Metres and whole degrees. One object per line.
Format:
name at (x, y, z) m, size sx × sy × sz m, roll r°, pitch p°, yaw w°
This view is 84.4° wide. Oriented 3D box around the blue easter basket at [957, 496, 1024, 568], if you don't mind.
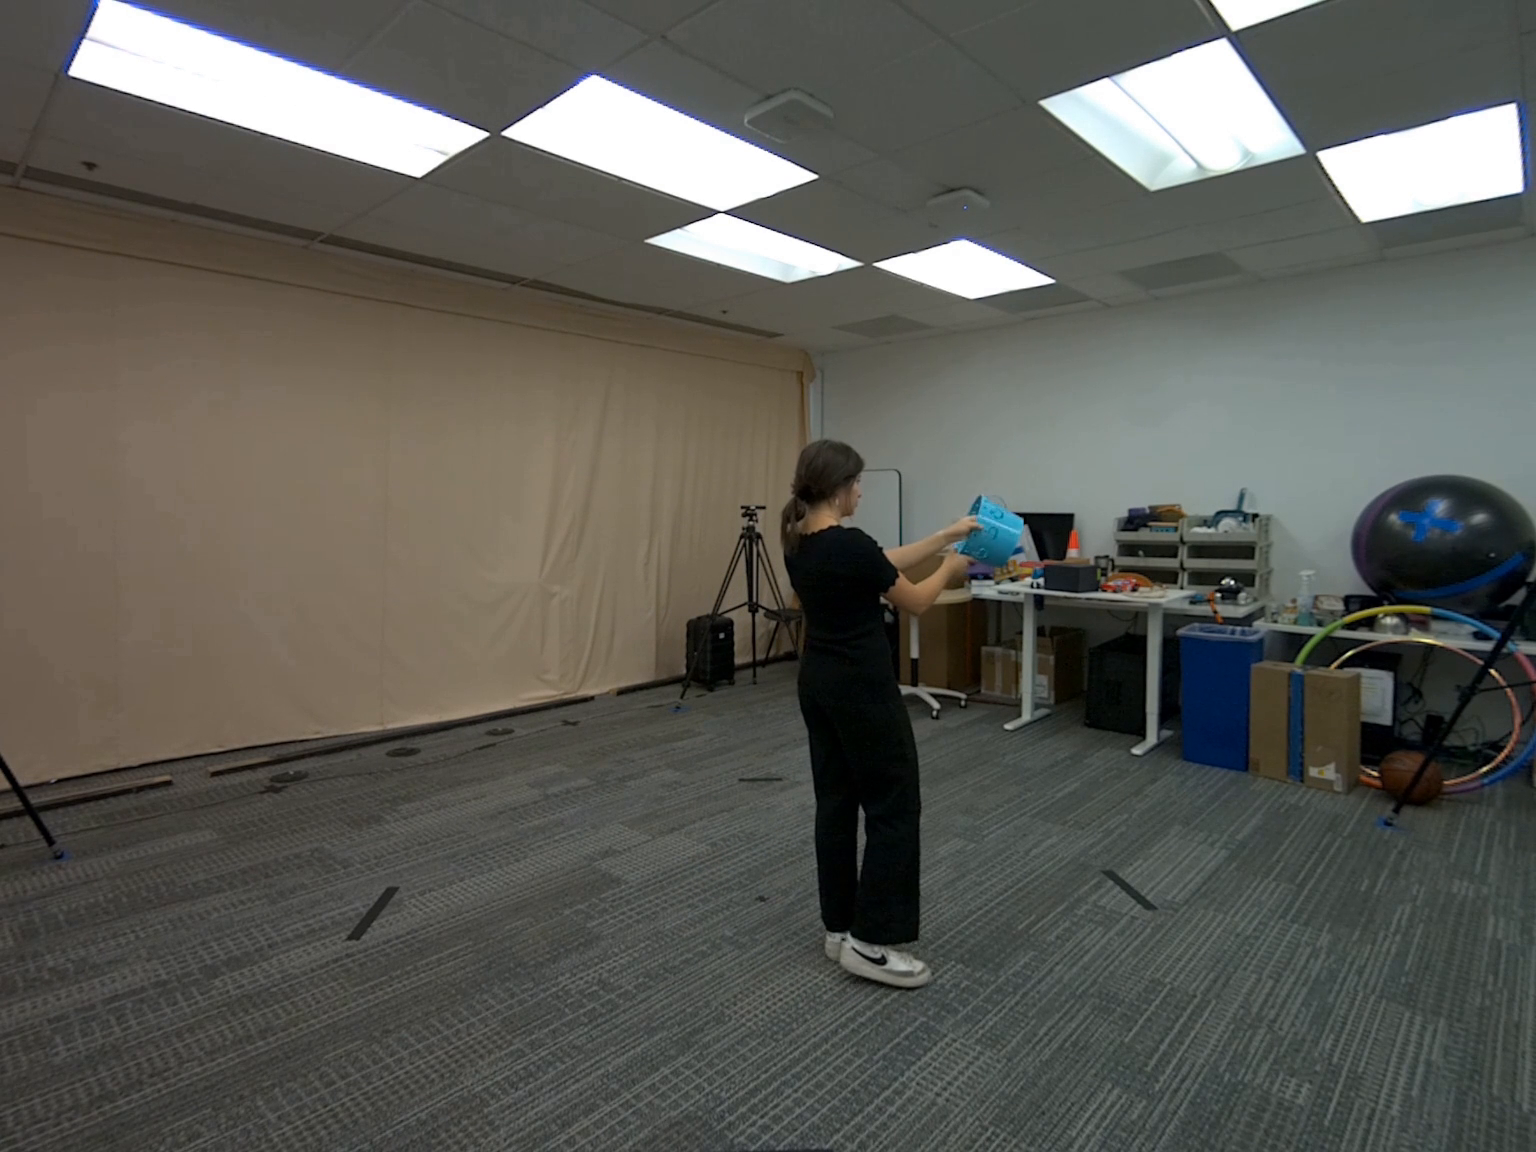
blue easter basket at (0.749, -0.134, 2.794) m, size 0.157 × 0.243 × 0.243 m, roll 18°, pitch 5°, yaw 2°
